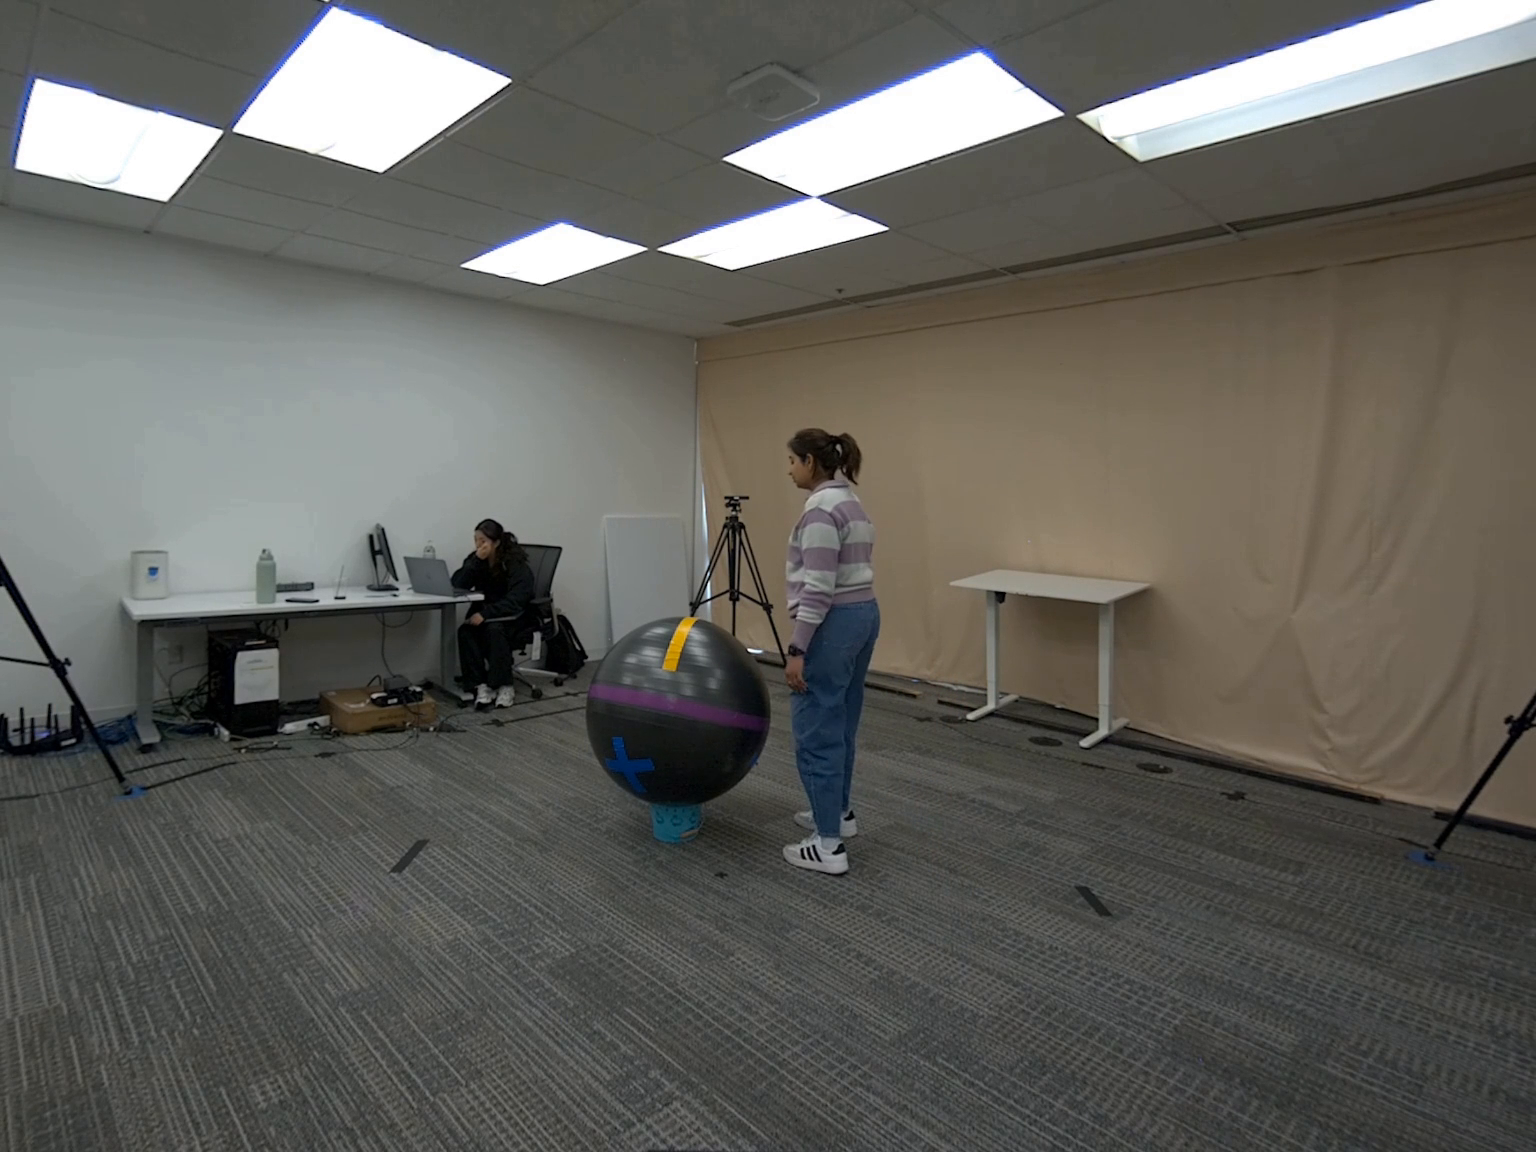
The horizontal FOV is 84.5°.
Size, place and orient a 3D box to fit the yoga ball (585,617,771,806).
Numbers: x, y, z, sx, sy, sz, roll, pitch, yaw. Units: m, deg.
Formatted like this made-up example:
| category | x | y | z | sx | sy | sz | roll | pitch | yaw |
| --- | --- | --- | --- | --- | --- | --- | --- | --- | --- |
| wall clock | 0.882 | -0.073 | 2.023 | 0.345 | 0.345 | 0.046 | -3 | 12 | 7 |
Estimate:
| category | x | y | z | sx | sy | sz | roll | pitch | yaw |
| --- | --- | --- | --- | --- | --- | --- | --- | --- | --- |
| yoga ball | -0.375 | 0.557 | 3.477 | 0.757 | 0.756 | 0.761 | 1 | 4 | -1 |
